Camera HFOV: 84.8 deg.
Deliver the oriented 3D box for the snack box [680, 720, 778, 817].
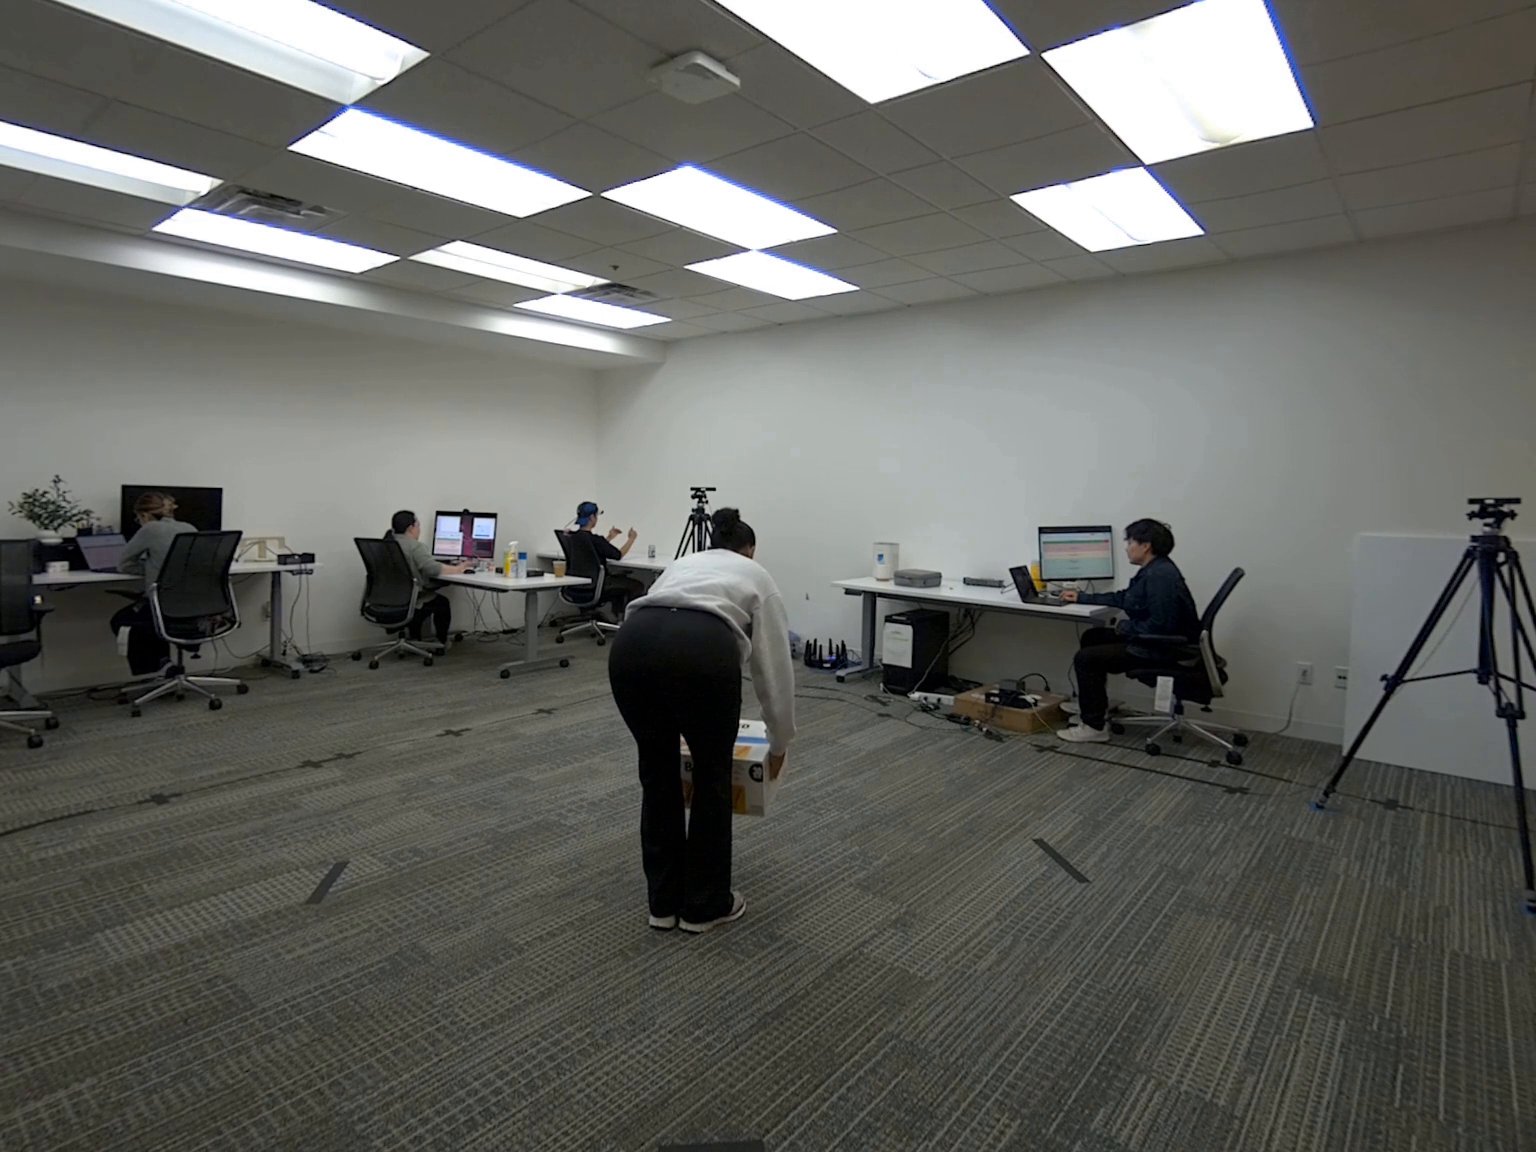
[{"bbox_3d":[-0.177,0.658,3.029,0.412,0.203,0.338,1,13,16],"label":"snack box"}]
